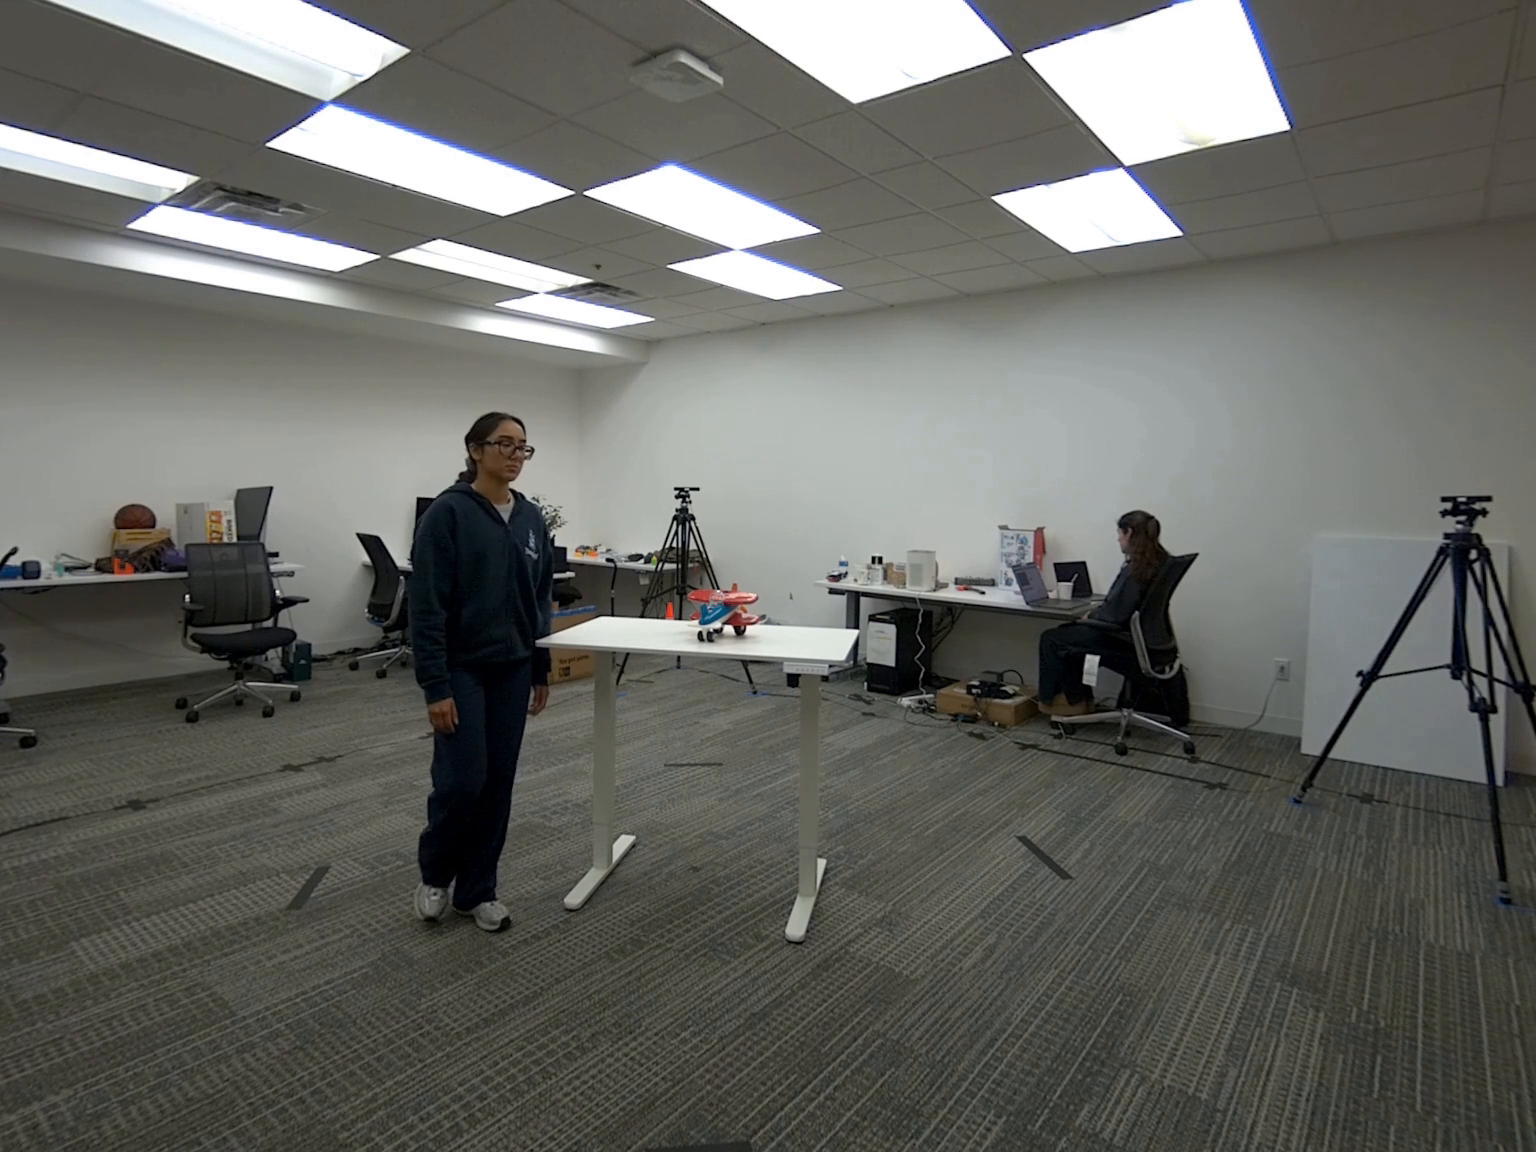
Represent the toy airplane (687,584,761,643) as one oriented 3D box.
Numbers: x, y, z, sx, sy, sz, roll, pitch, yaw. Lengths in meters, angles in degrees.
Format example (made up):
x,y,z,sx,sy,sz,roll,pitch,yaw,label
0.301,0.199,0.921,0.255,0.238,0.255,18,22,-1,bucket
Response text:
x,y,z,sx,sy,sz,roll,pitch,yaw,label
-0.154,0.136,2.891,0.250,0.156,0.261,0,4,-5,toy airplane
